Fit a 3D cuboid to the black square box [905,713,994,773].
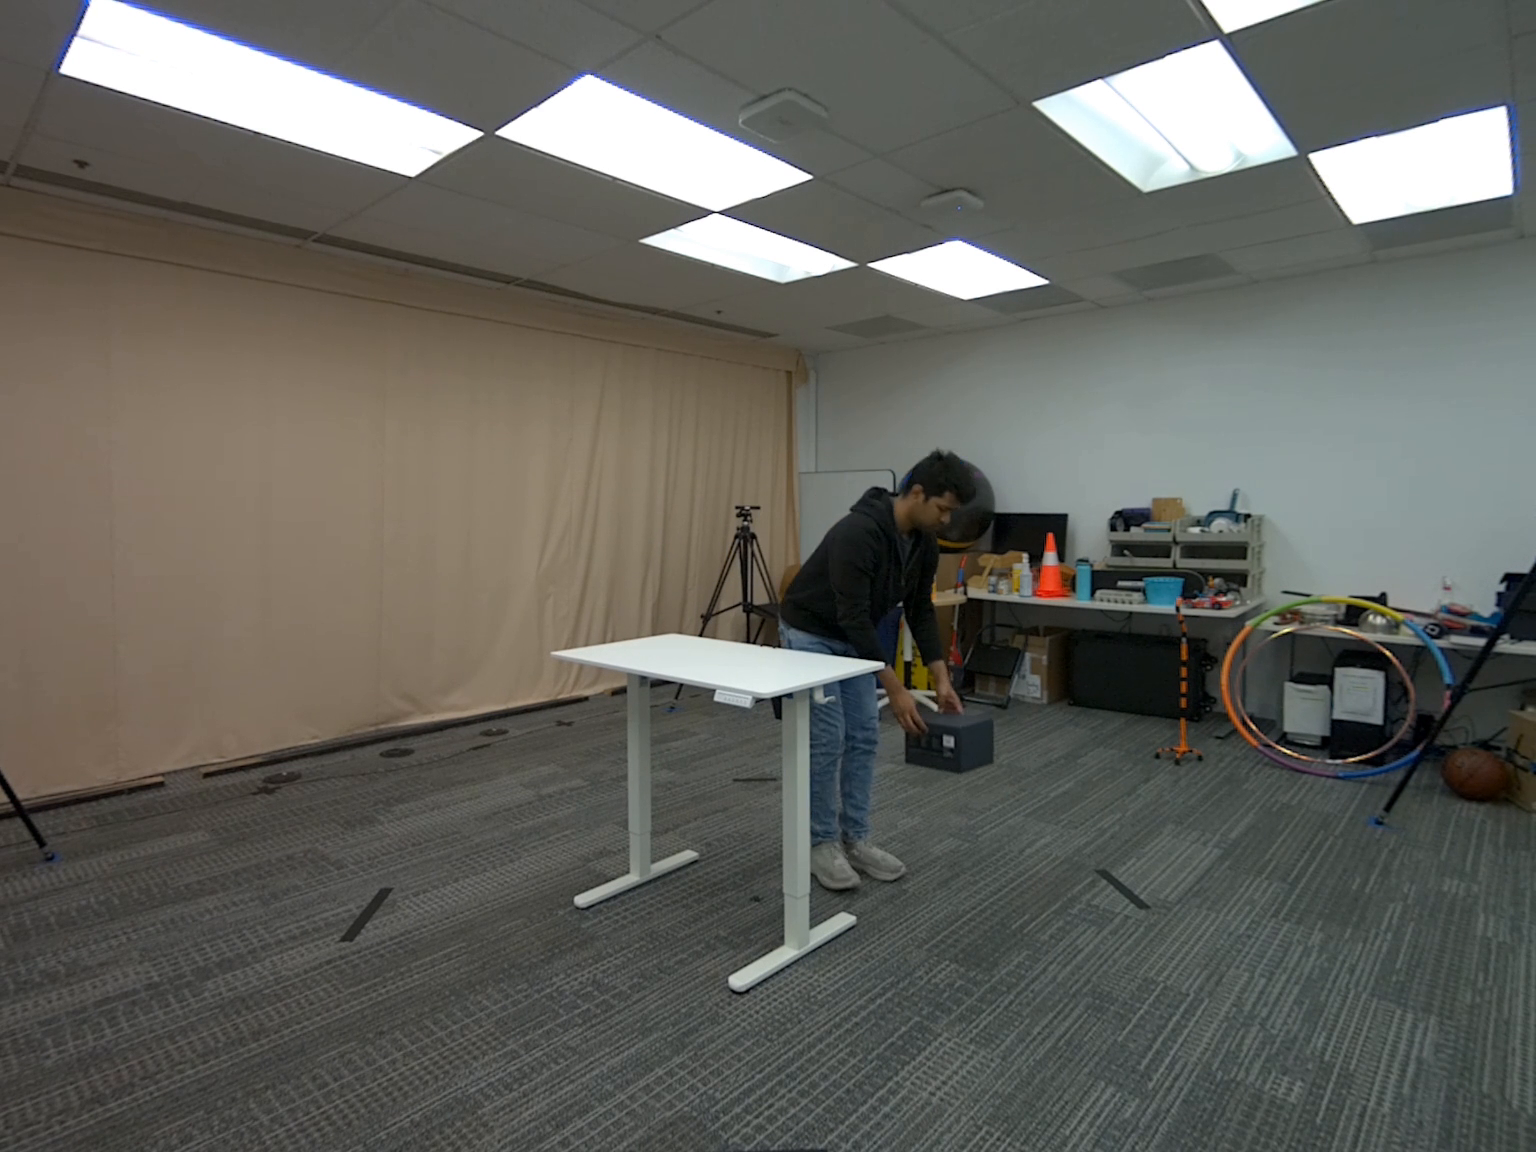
[{"bbox_3d":[0.633,0.579,2.923,0.224,0.156,0.221,0,1,44],"label":"black square box"}]
